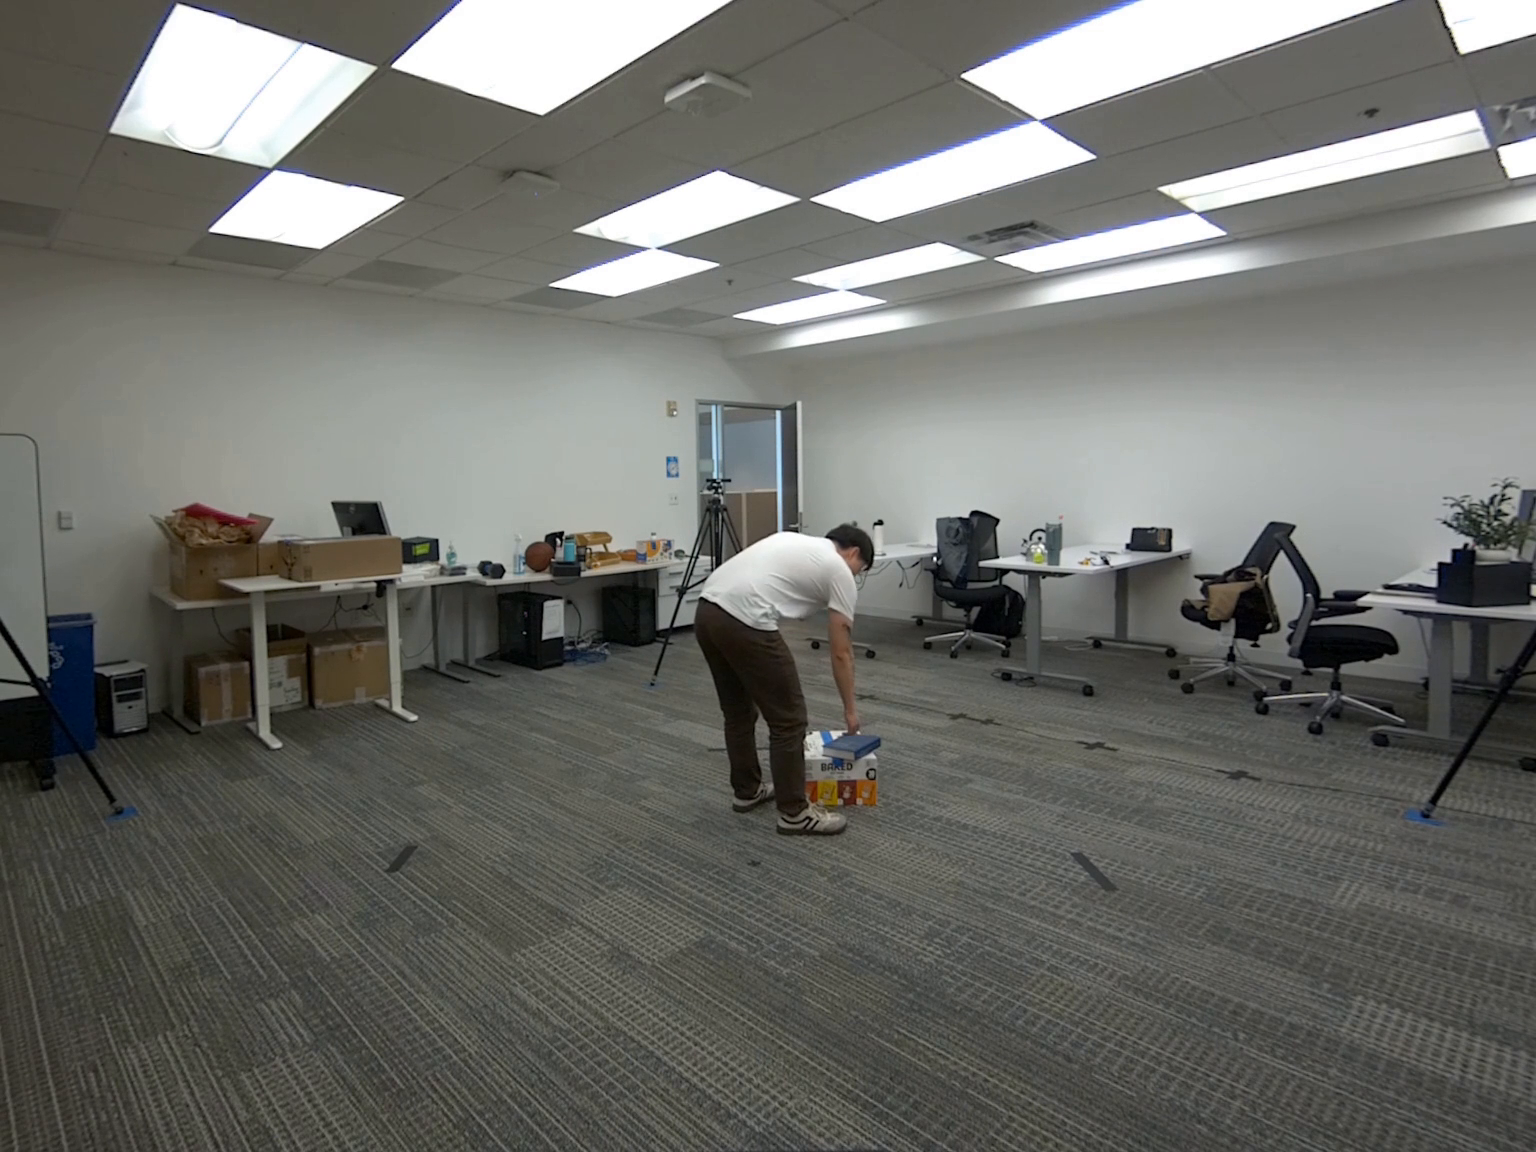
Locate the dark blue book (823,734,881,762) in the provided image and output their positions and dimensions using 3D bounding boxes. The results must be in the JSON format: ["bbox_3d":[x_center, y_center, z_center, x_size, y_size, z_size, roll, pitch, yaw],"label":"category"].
[{"bbox_3d":[0.362,0.745,3.734,0.168,0.045,0.239,1,6,34],"label":"dark blue book"}]
